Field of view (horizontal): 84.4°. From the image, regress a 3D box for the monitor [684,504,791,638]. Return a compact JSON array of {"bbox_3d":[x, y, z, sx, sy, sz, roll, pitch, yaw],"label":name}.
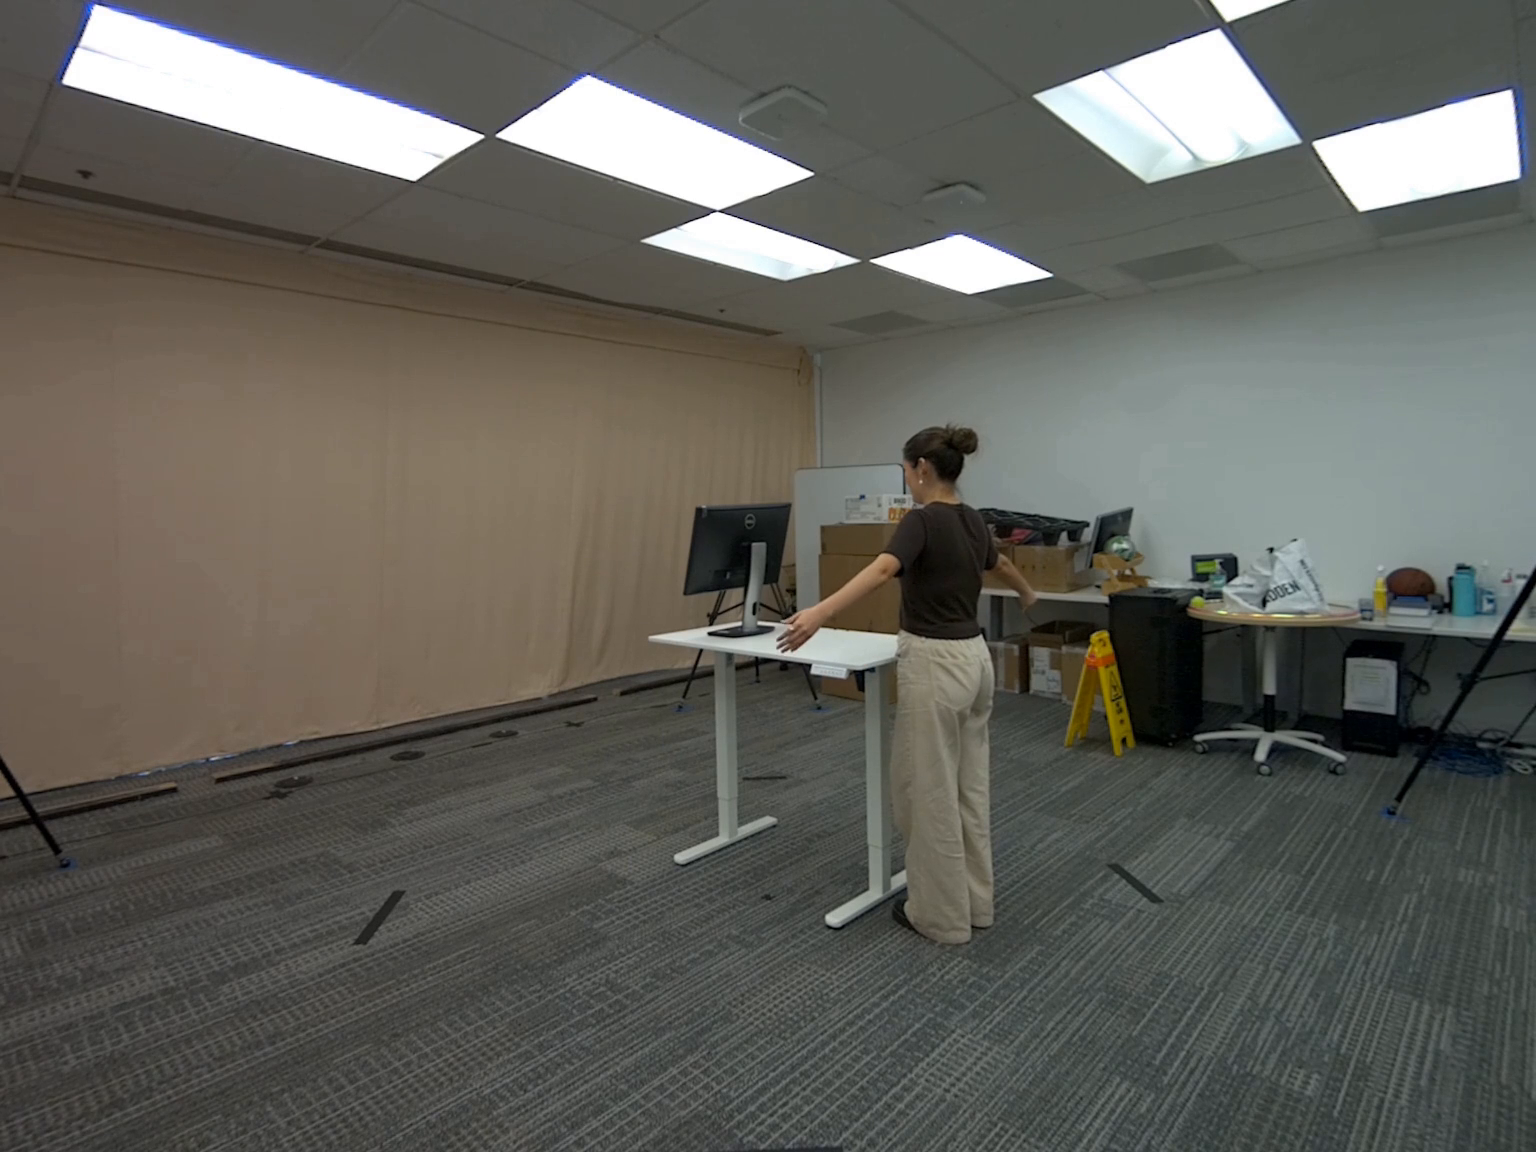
[{"bbox_3d":[-0.093,-0.023,3.355,0.193,0.521,0.523,5,7,42],"label":"monitor"}]
